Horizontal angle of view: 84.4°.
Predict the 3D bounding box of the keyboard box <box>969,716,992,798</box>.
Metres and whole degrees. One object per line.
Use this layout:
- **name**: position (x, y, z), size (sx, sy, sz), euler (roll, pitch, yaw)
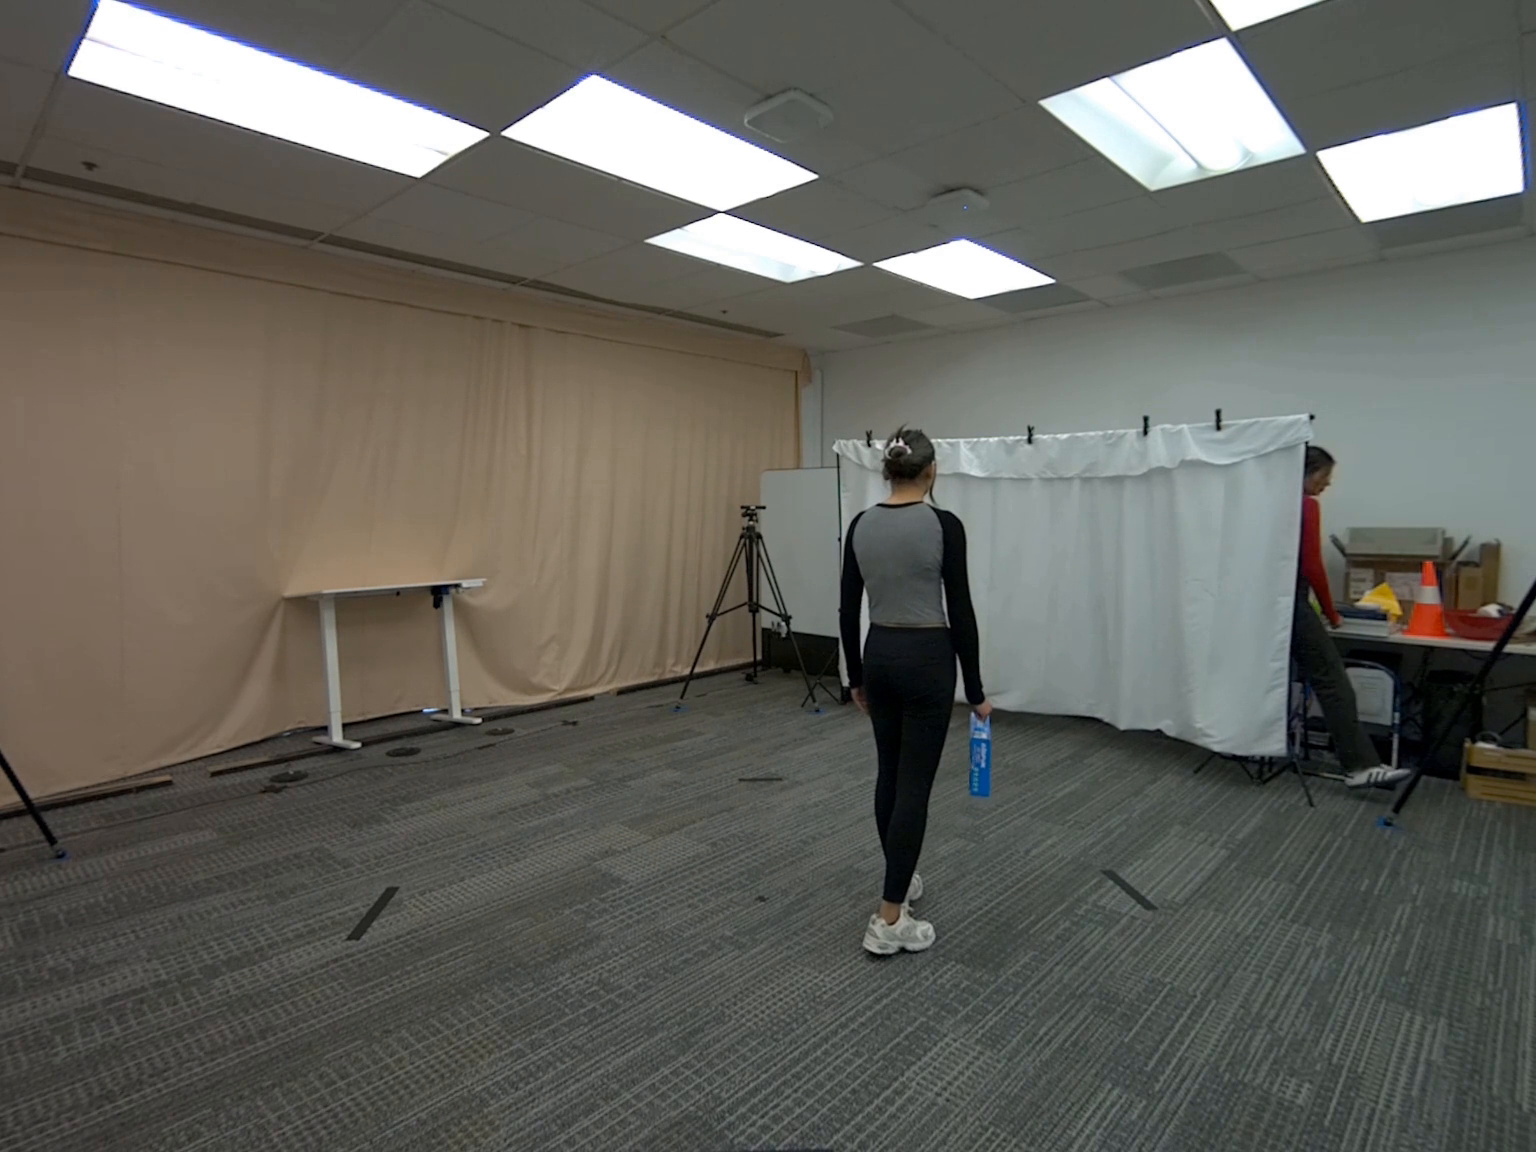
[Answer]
- **keyboard box**: position (0.688, 0.563, 2.721), size (0.060, 0.176, 0.430), euler (1, 3, 13)
